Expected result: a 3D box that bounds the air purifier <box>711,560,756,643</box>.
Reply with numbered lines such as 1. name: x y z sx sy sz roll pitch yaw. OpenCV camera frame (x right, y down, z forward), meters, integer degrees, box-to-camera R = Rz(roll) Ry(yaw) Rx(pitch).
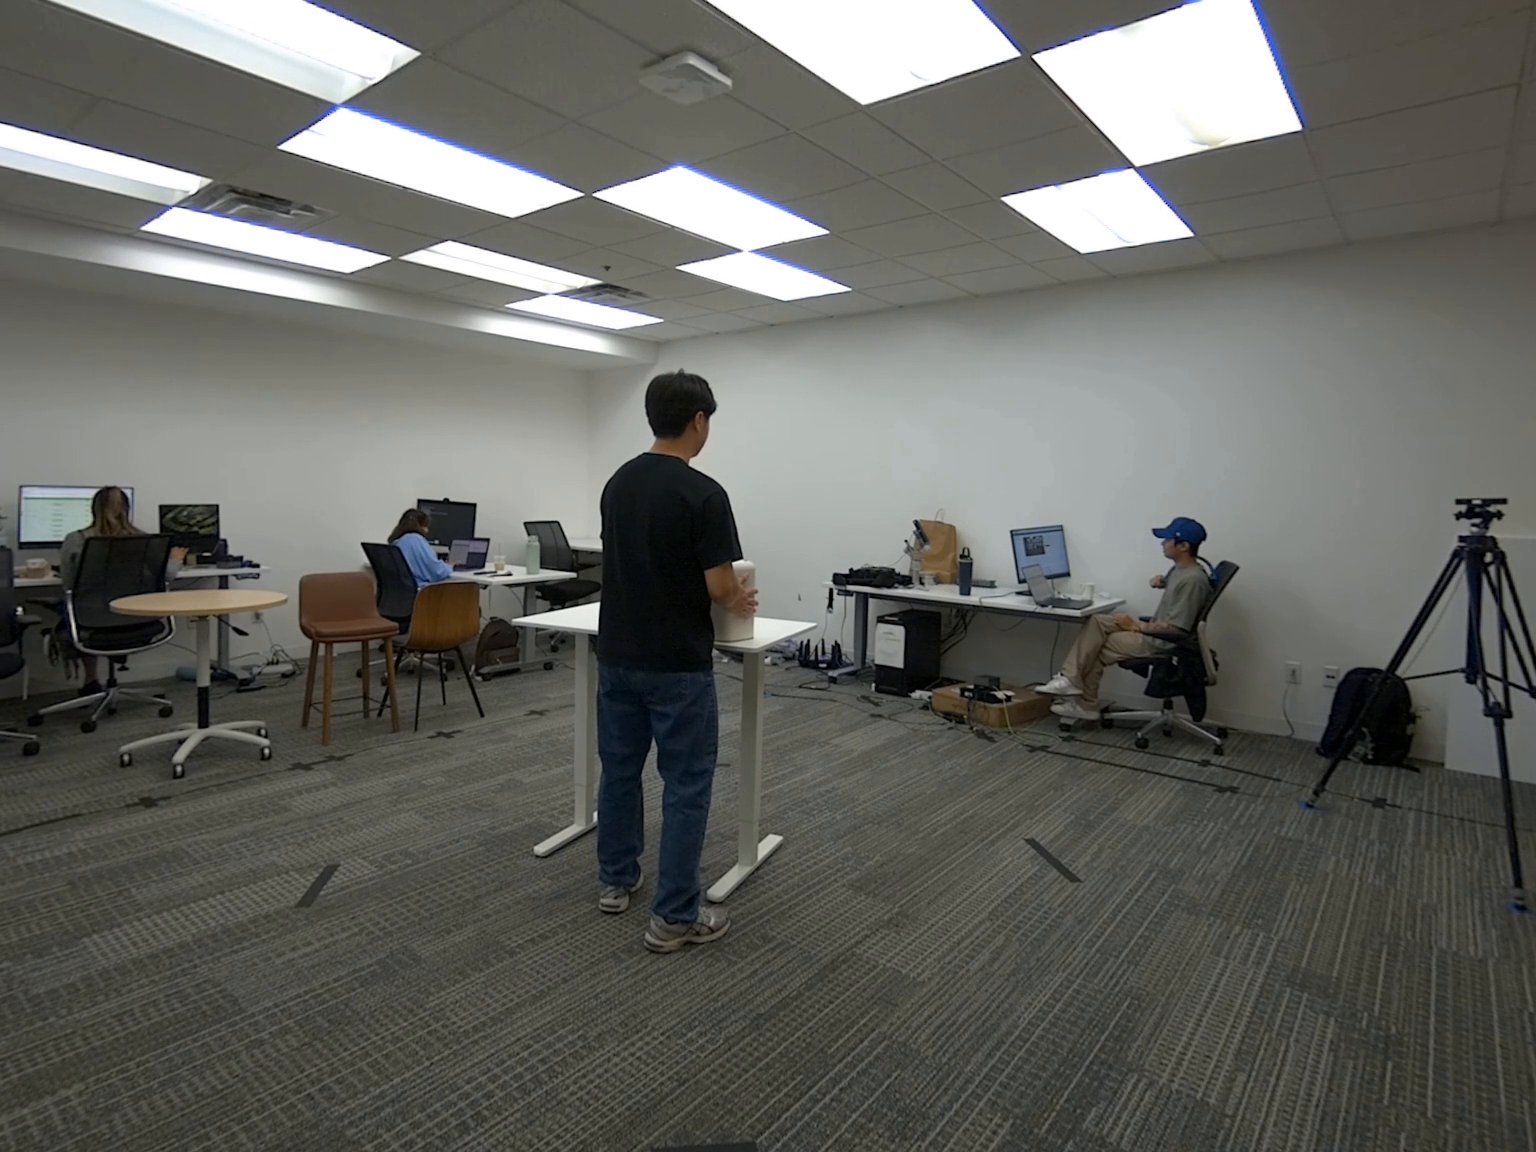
1. air purifier: -0.153 0.075 2.918 0.177 0.264 0.166 6 6 42
